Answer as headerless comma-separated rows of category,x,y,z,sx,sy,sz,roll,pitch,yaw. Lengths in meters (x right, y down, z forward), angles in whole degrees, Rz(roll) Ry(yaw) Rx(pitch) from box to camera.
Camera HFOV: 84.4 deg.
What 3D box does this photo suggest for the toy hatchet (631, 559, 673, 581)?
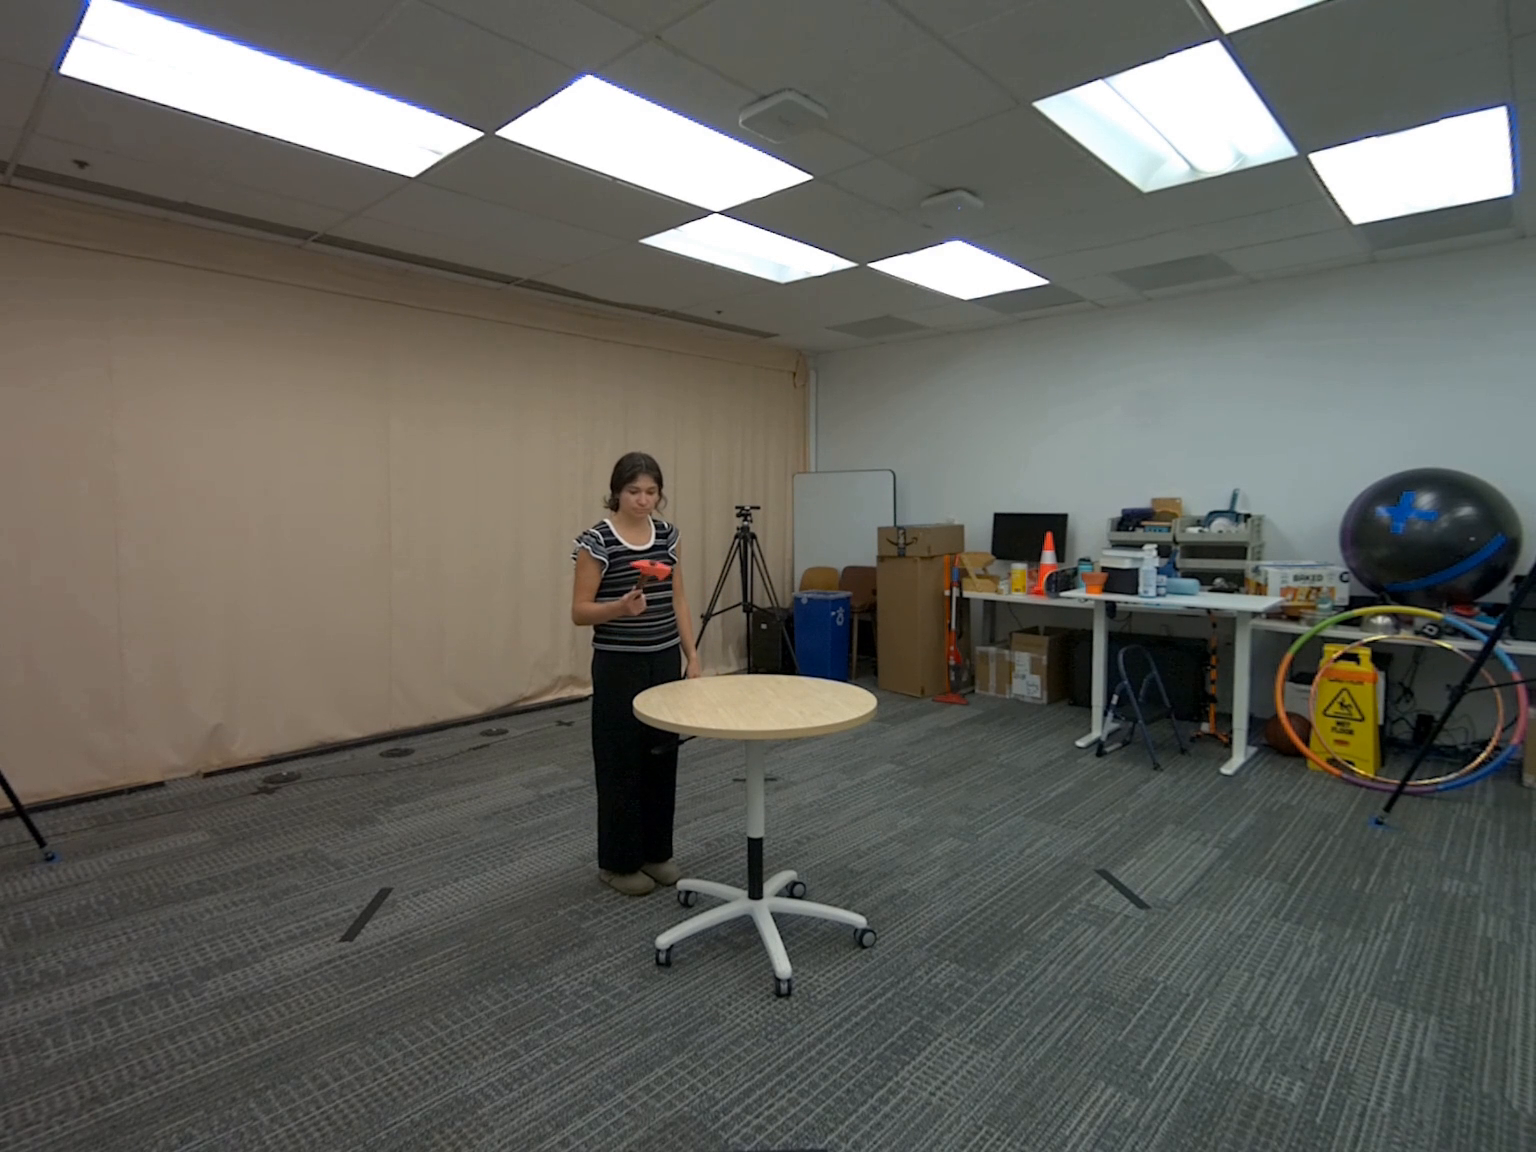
toy hatchet,-0.384,0.037,2.761,0.130,0.030,0.266,-3,-34,-7
